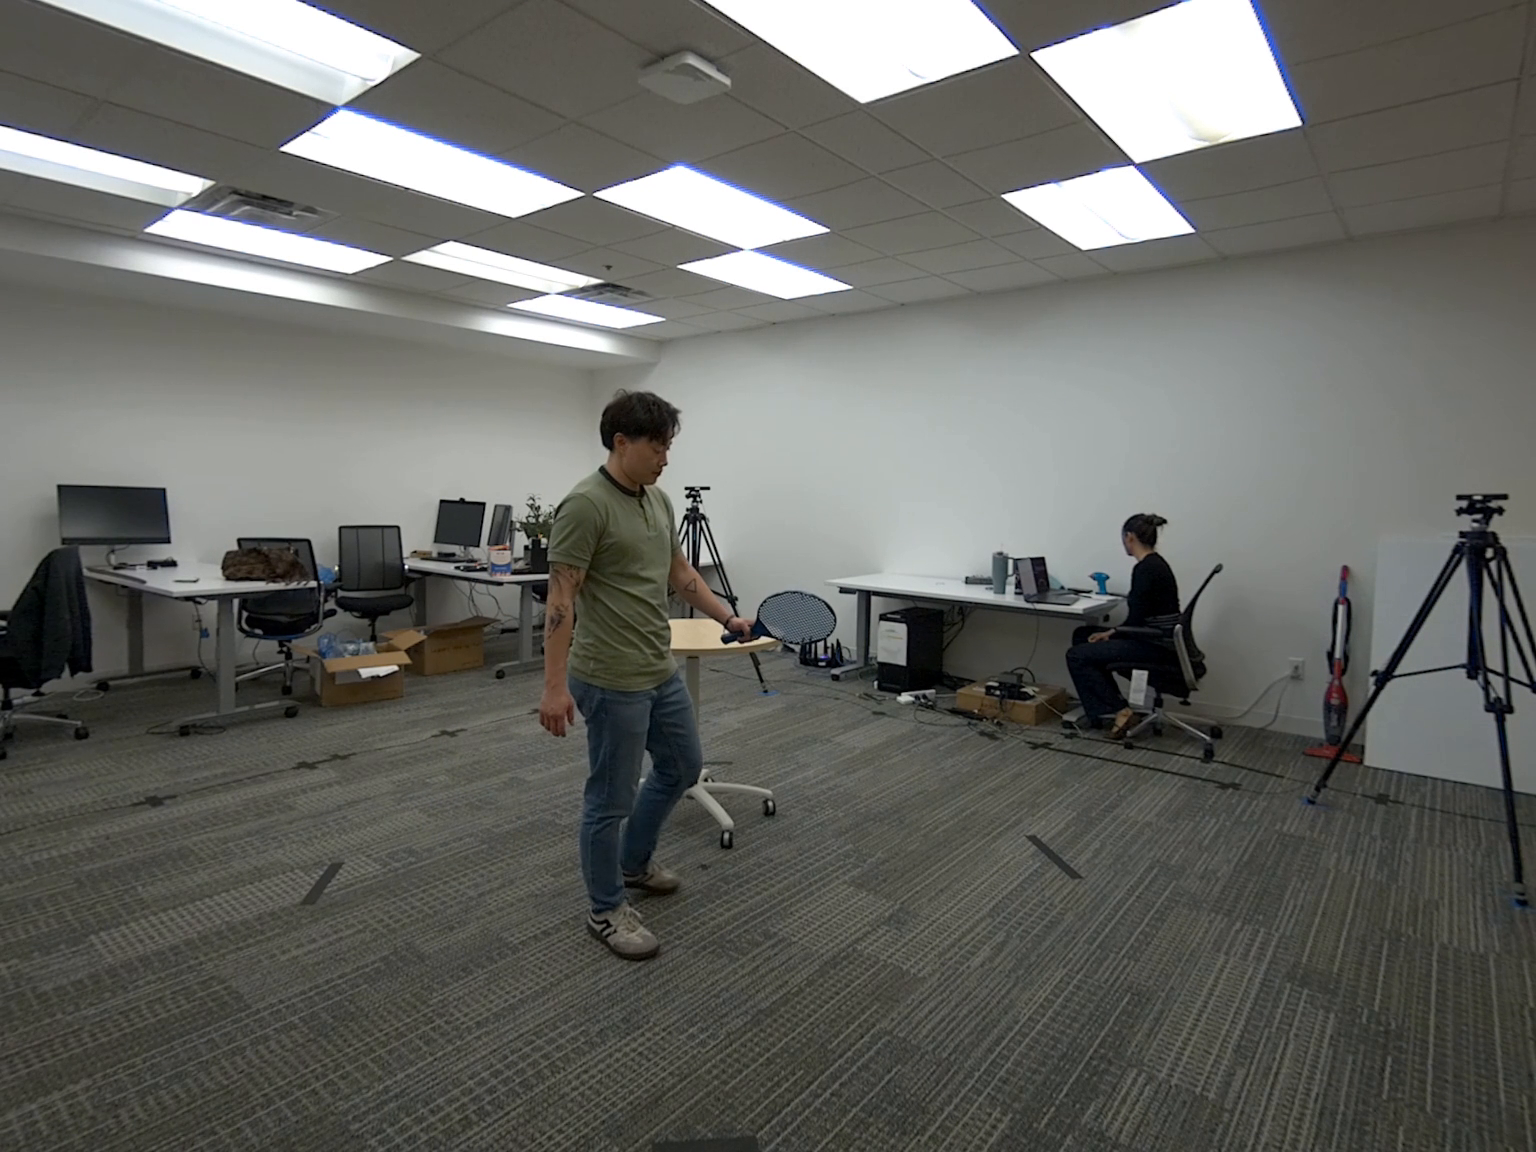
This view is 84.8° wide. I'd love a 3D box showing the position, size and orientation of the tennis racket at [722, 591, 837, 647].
[{"bbox_3d":[0.009,0.163,2.617,0.440,0.209,0.032,-22,20,30],"label":"tennis racket"}]
